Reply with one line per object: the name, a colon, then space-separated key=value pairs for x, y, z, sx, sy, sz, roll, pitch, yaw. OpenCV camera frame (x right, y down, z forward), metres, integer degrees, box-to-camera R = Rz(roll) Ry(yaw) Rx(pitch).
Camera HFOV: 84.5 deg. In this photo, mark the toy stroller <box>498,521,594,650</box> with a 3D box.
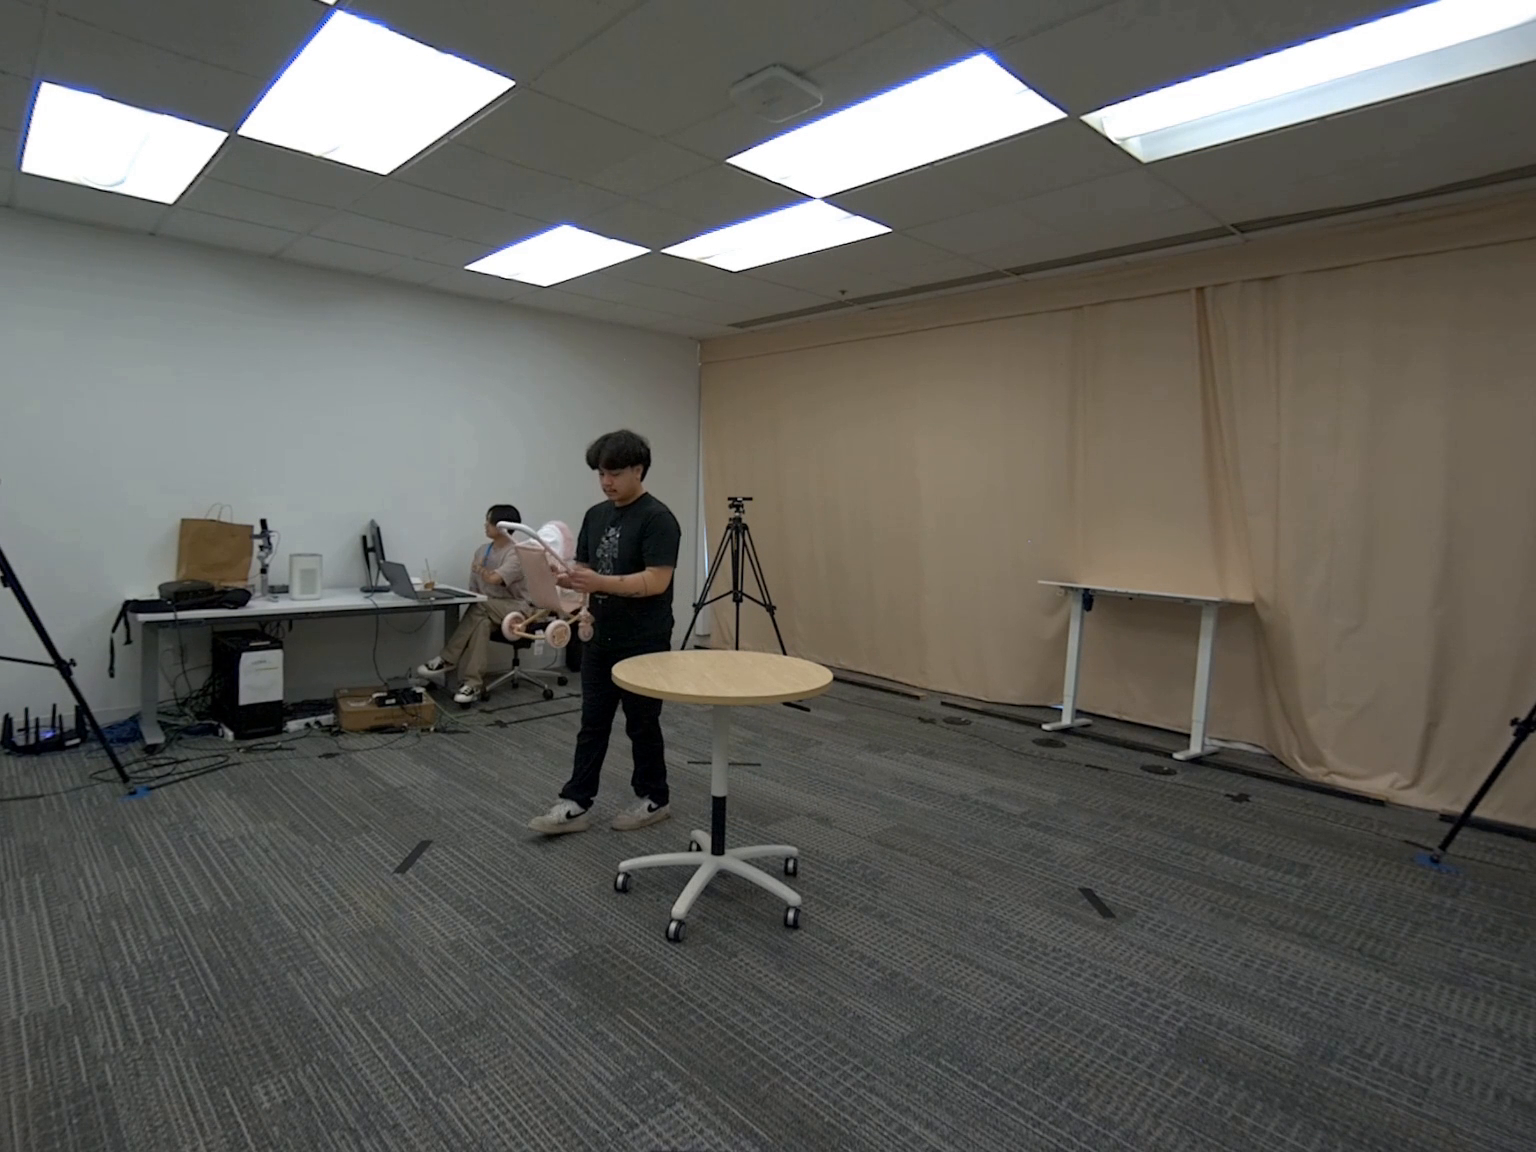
toy stroller: x=-0.830 y=0.031 z=3.202 sx=0.288 sy=0.530 sz=0.336 roll=5 pitch=15 yaw=40
